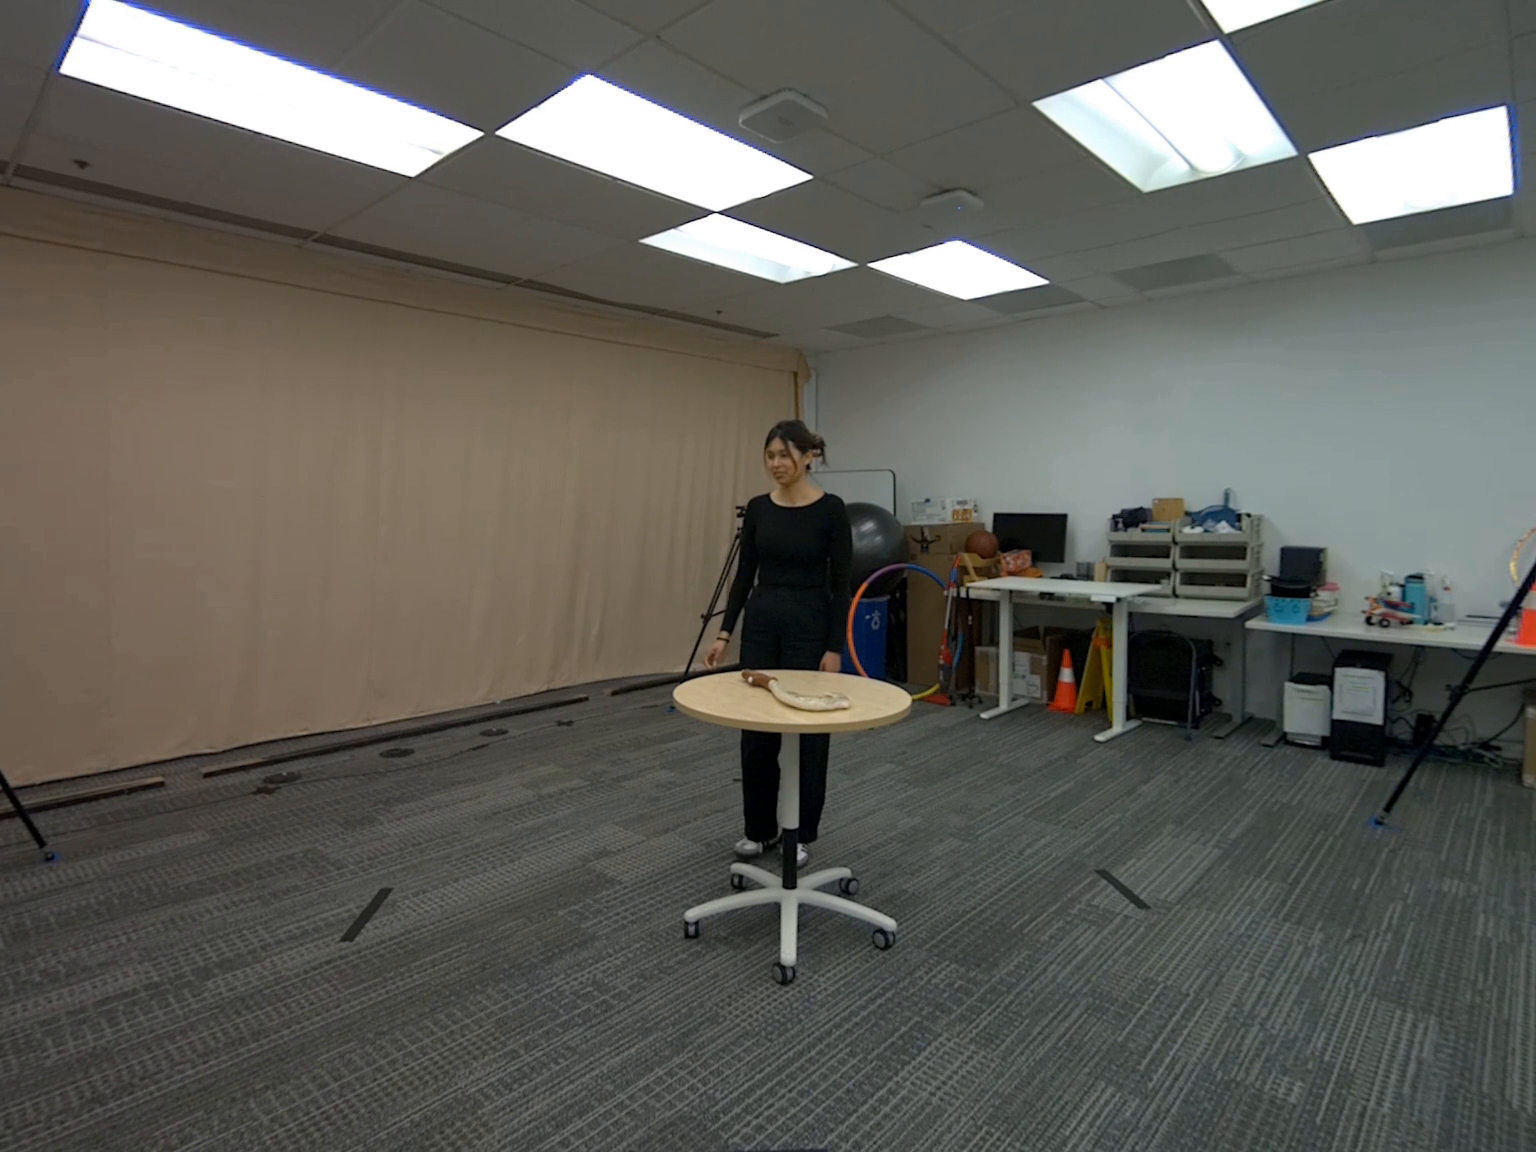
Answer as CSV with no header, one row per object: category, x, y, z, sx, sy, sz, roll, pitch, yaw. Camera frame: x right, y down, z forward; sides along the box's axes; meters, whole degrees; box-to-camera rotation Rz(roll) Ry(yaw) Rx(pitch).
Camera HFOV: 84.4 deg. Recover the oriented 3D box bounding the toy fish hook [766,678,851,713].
toy fish hook,0.091,0.370,2.733,0.219,0.048,0.520,3,5,-26
